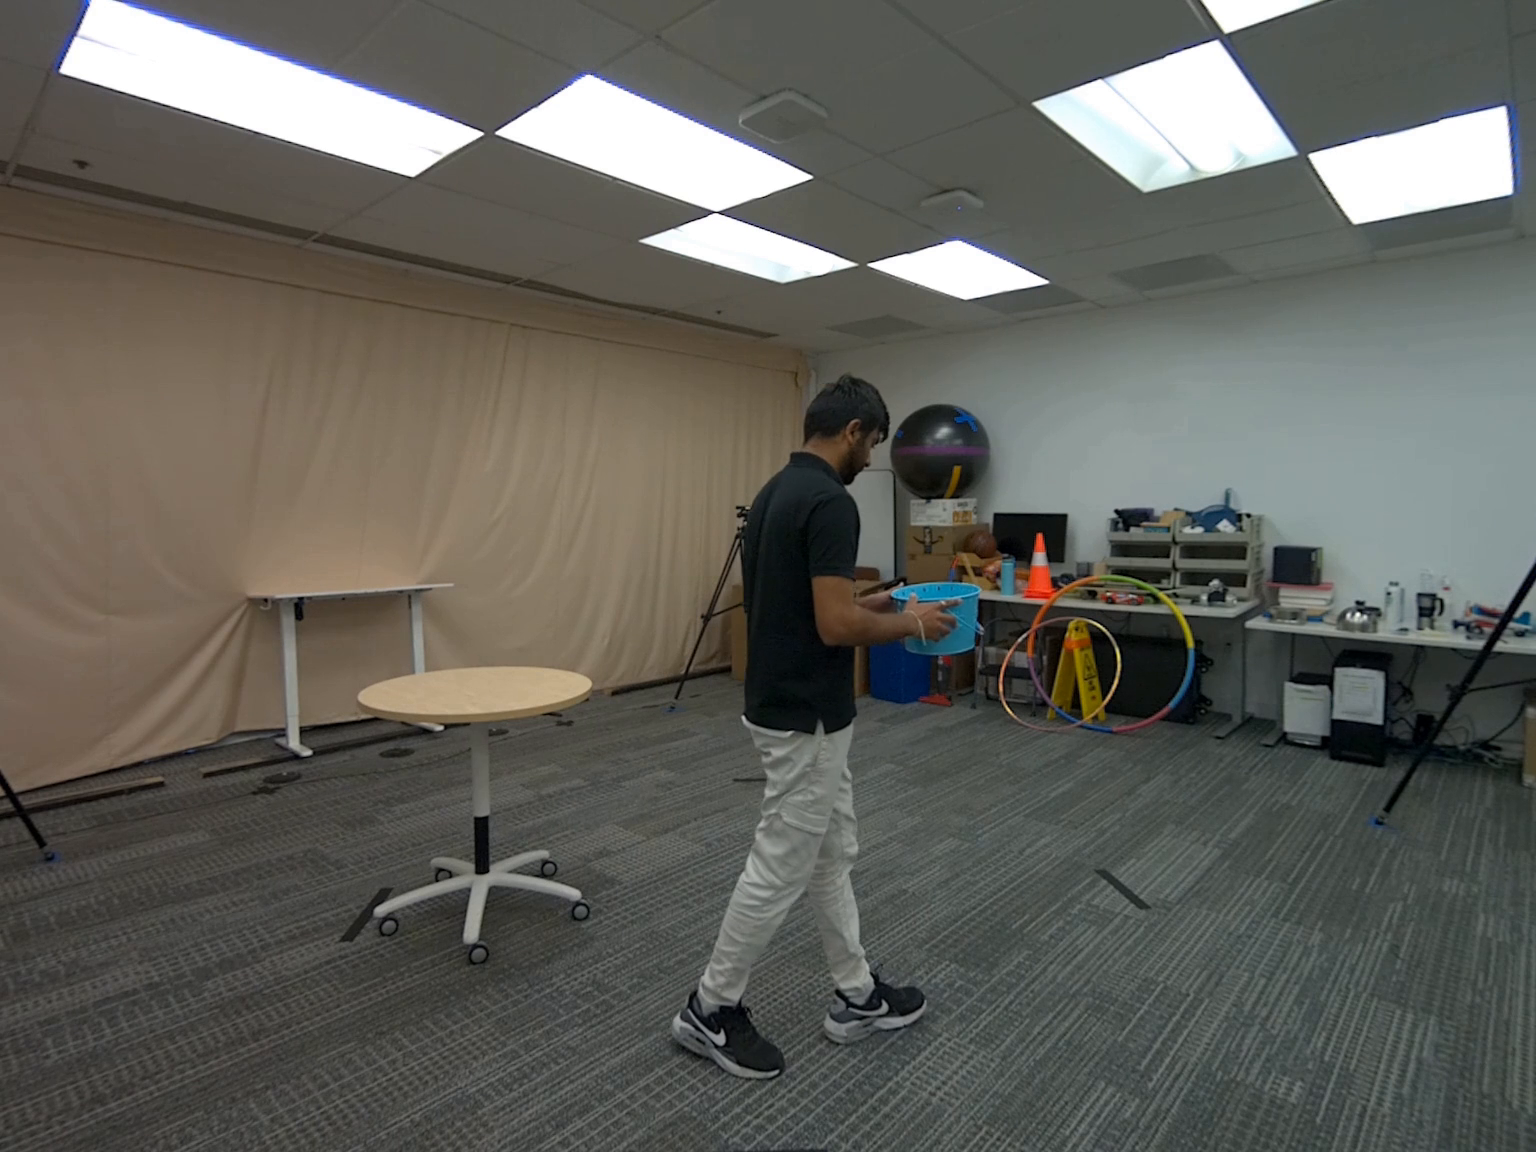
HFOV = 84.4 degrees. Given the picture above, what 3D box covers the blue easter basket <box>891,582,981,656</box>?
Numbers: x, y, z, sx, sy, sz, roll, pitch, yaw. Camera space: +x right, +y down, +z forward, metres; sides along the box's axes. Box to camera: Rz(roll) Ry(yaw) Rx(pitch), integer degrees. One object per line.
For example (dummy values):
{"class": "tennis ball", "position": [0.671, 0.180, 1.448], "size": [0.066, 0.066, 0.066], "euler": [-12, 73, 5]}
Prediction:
{"class": "blue easter basket", "position": [0.472, 0.116, 2.253], "size": [0.243, 0.155, 0.245], "euler": [-6, 8, -1]}
